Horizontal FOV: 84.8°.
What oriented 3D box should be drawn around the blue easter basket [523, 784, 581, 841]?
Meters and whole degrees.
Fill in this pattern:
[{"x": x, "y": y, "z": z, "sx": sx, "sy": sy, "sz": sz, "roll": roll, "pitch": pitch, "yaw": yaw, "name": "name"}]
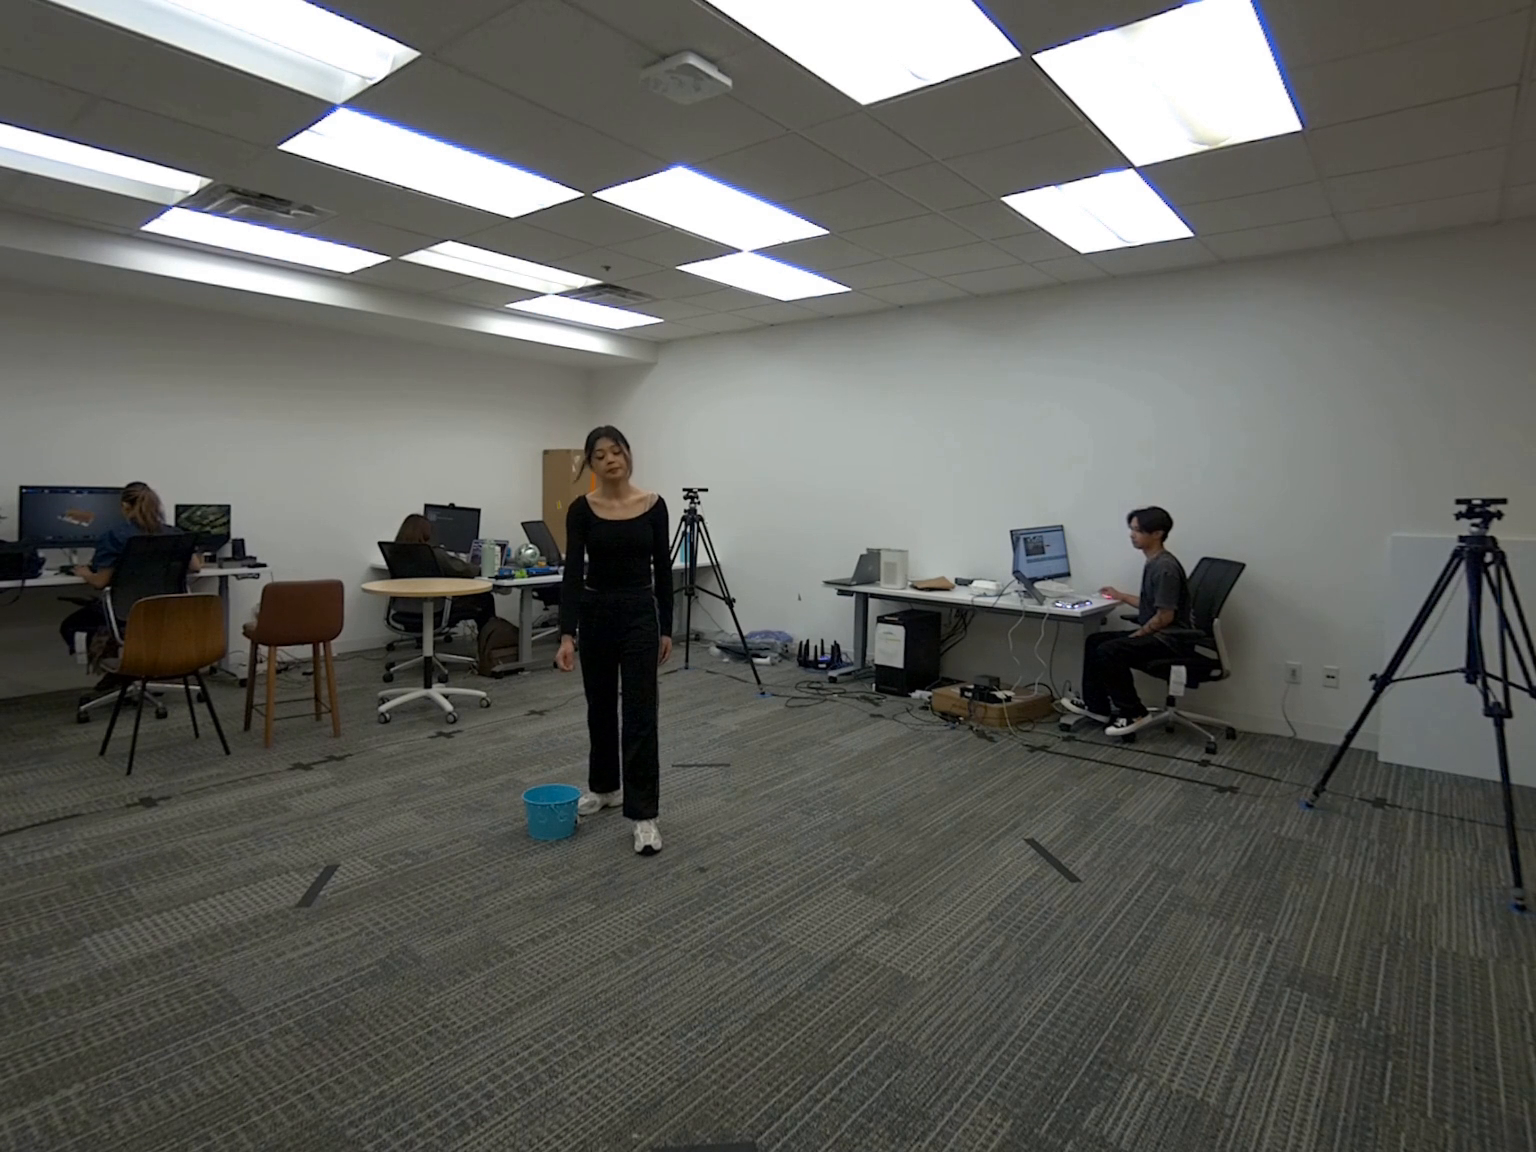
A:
[{"x": -0.877, "y": 0.945, "z": 3.438, "sx": 0.243, "sy": 0.155, "sz": 0.245, "roll": 0, "pitch": 5, "yaw": -2, "name": "blue easter basket"}]
